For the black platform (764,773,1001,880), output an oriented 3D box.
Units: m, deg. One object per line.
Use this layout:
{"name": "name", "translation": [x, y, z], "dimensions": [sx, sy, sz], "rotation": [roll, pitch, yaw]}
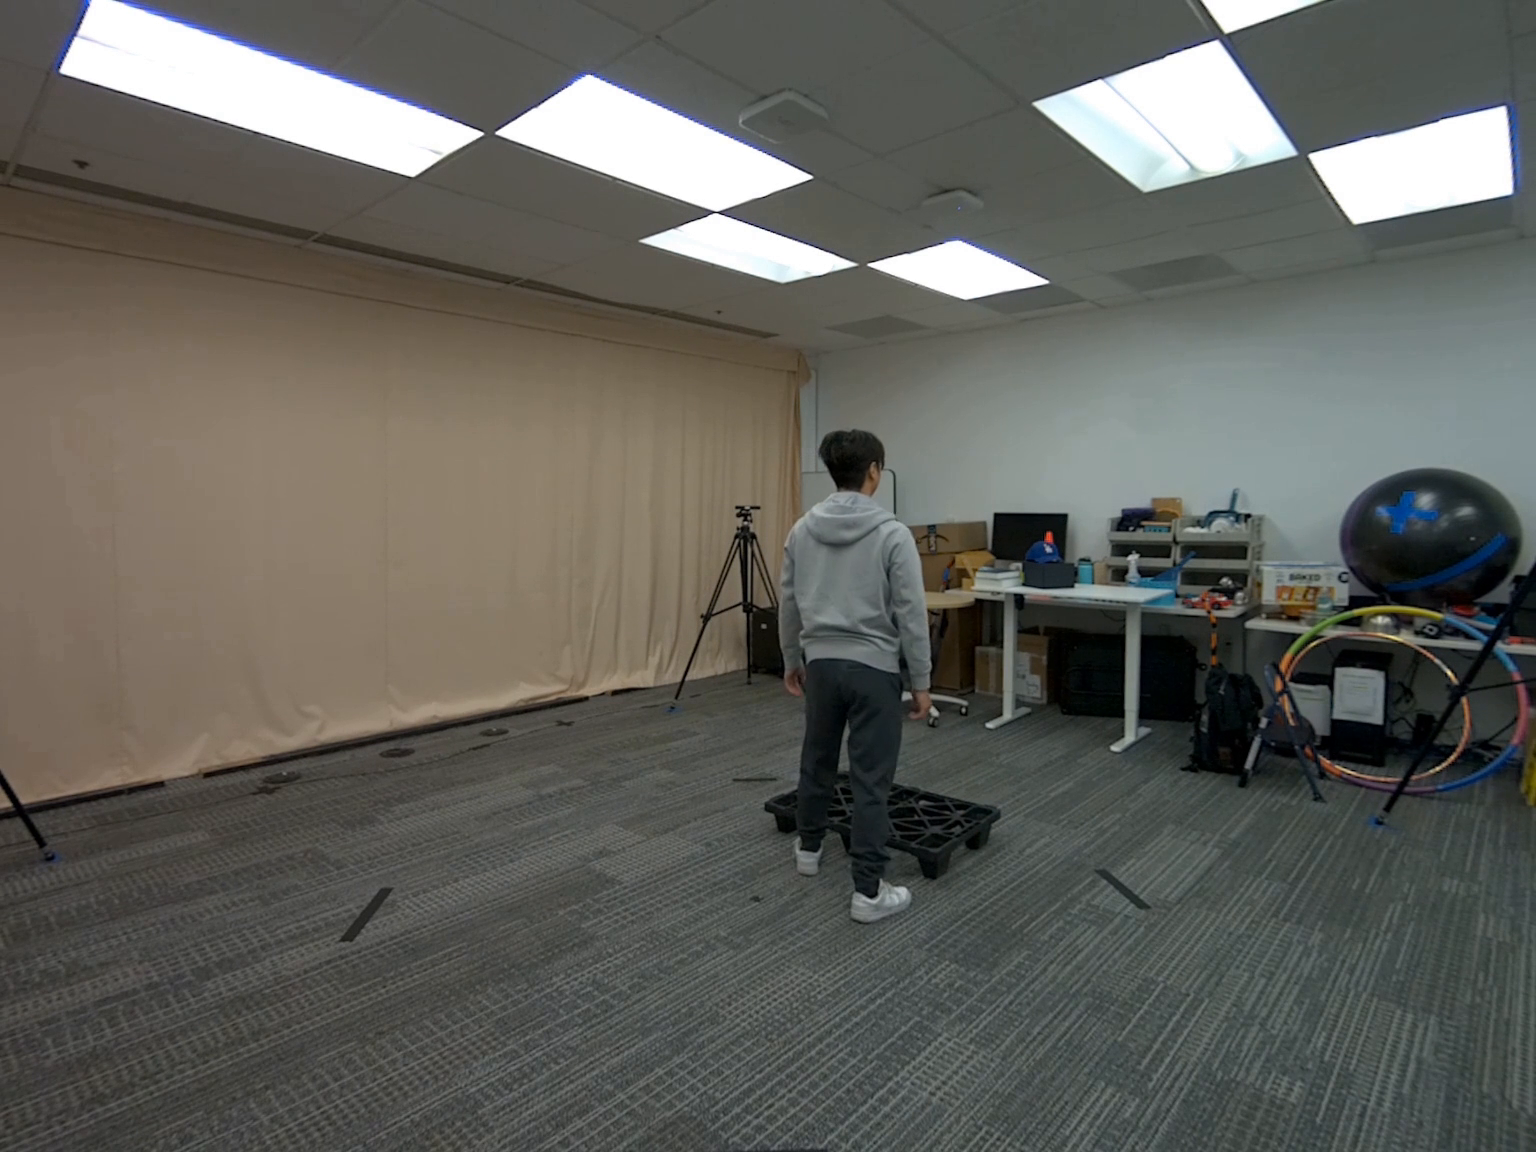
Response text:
{"name": "black platform", "translation": [0.477, 1.031, 3.532], "dimensions": [0.832, 0.143, 0.587], "rotation": [3, 6, 39]}
